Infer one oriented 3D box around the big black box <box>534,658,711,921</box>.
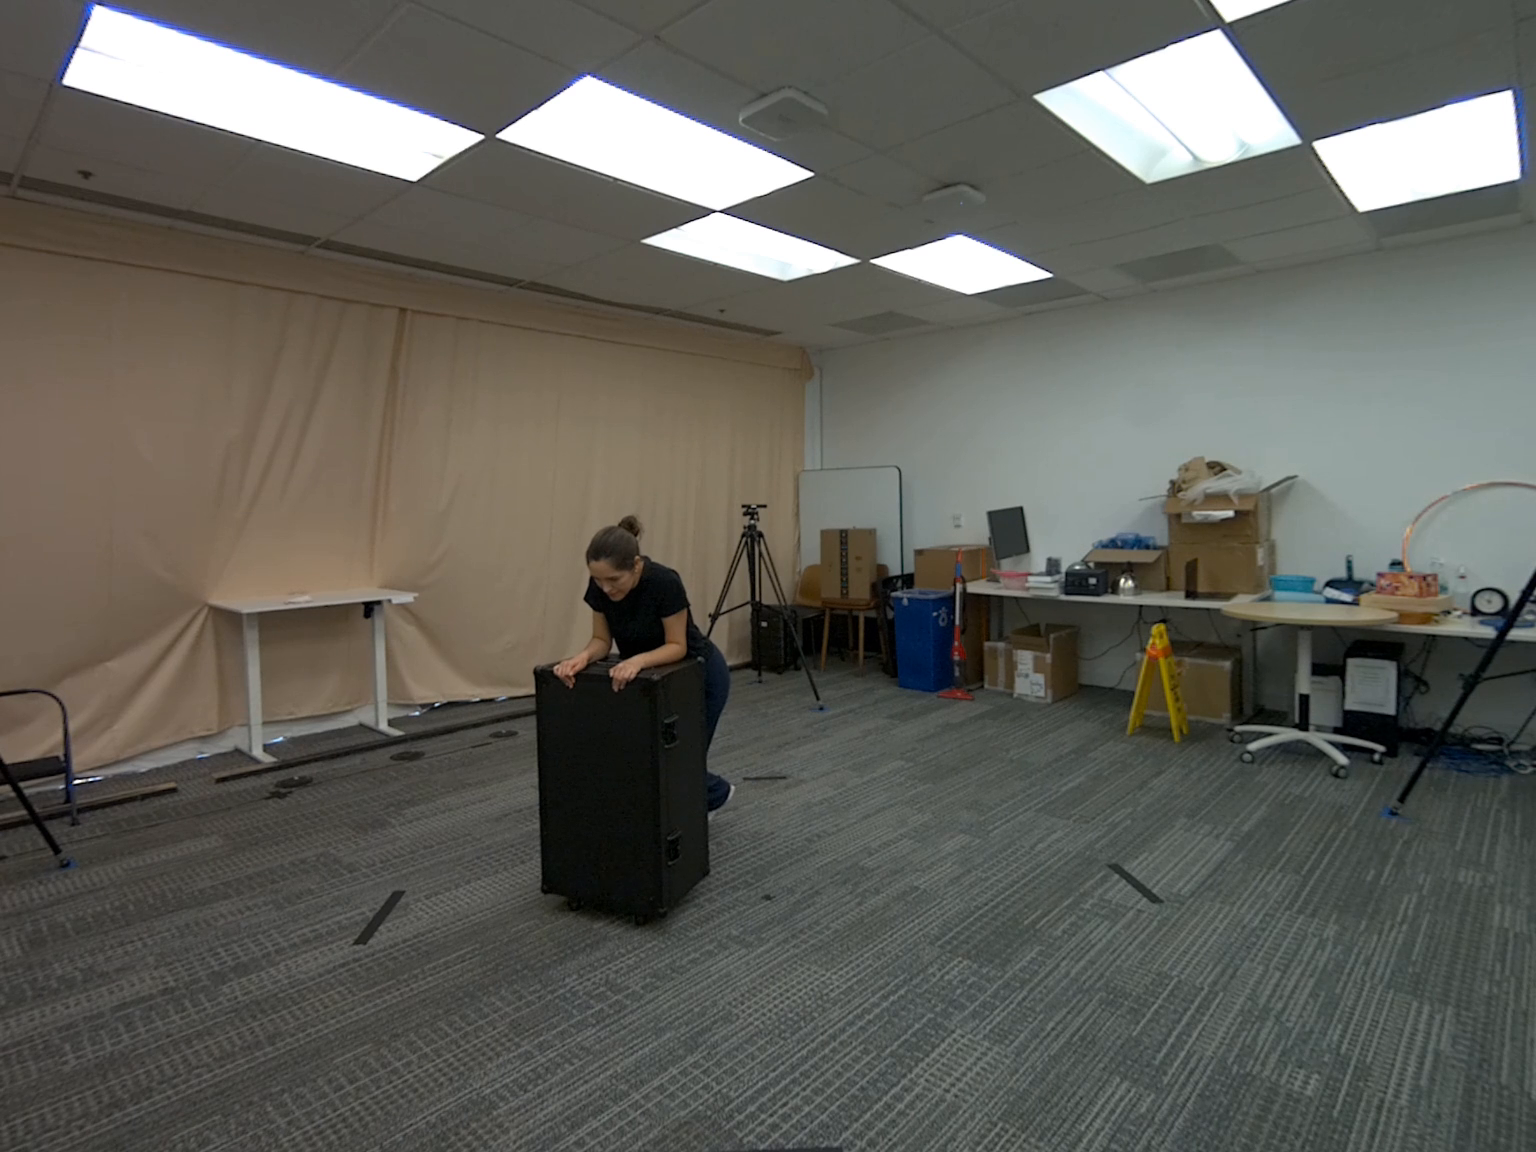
[{"bbox_3d":[-0.488,0.668,2.955,0.534,0.859,0.388,-1,4,23],"label":"big black box"}]
